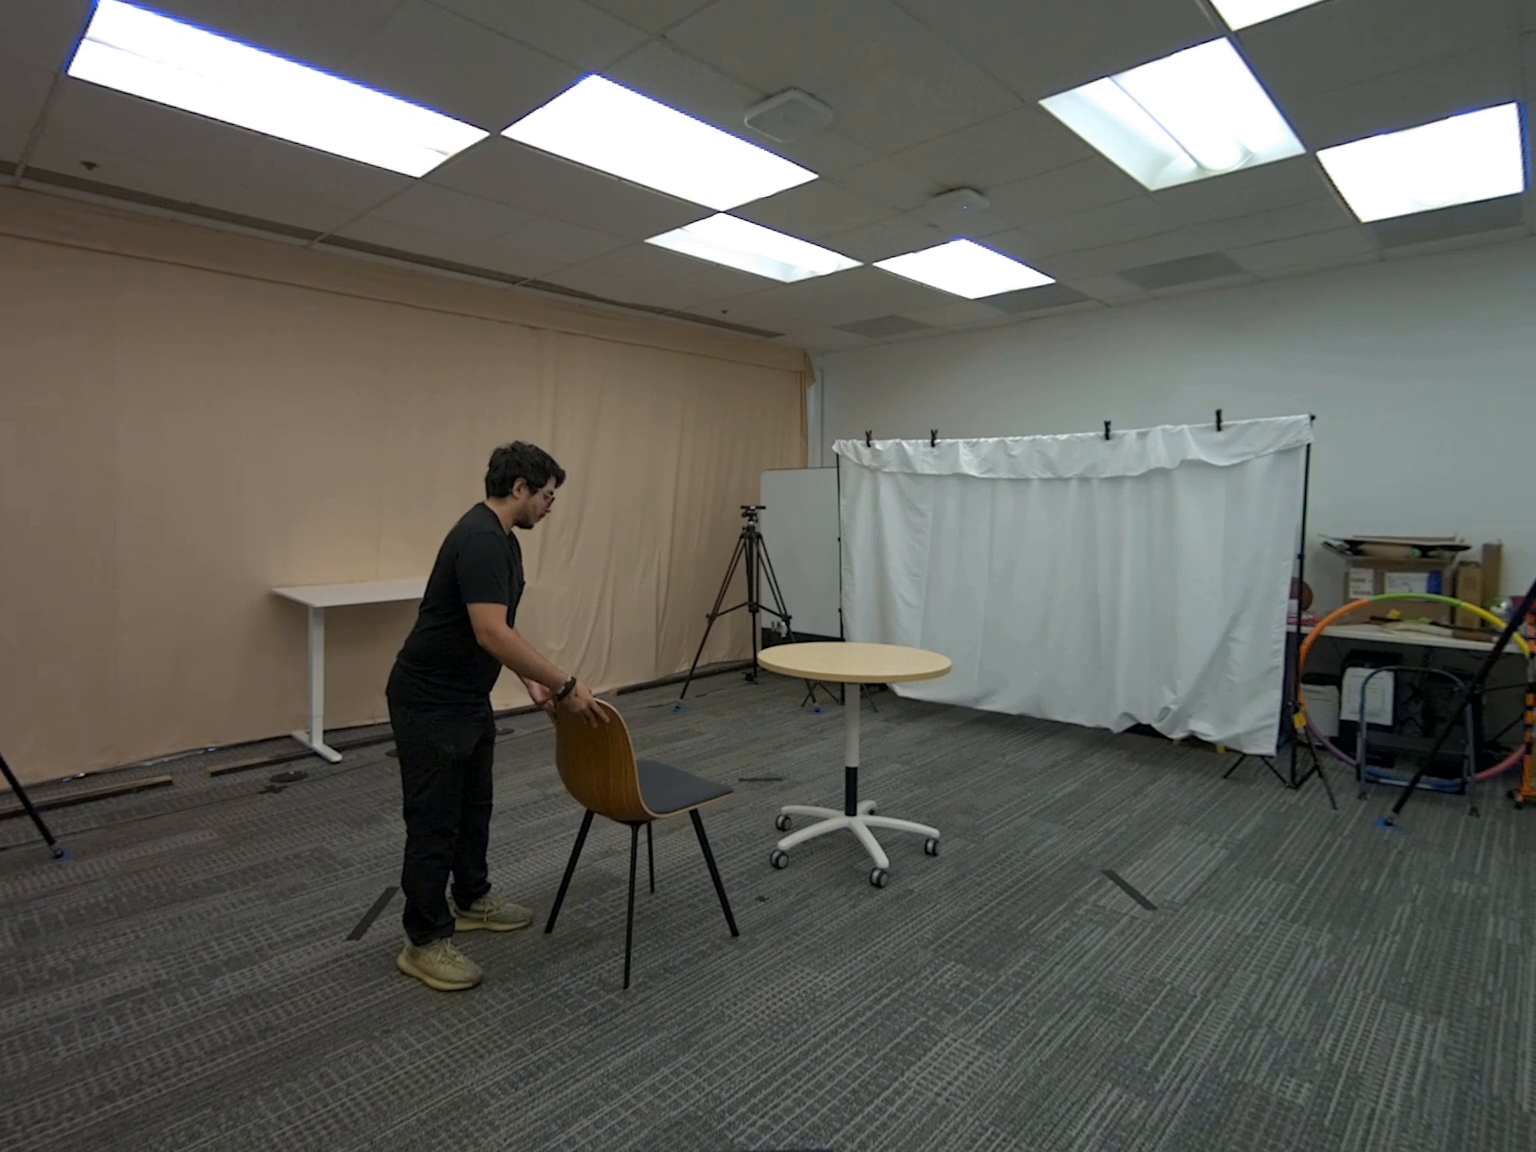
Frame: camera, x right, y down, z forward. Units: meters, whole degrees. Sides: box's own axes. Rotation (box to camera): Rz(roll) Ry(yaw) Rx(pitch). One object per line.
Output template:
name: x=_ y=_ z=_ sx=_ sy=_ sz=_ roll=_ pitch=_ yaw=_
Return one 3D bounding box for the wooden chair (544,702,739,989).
wooden chair: x=-0.403 y=0.744 z=2.706 sx=0.508 sy=0.874 sz=0.494 roll=-9 pitch=8 yaw=-44
